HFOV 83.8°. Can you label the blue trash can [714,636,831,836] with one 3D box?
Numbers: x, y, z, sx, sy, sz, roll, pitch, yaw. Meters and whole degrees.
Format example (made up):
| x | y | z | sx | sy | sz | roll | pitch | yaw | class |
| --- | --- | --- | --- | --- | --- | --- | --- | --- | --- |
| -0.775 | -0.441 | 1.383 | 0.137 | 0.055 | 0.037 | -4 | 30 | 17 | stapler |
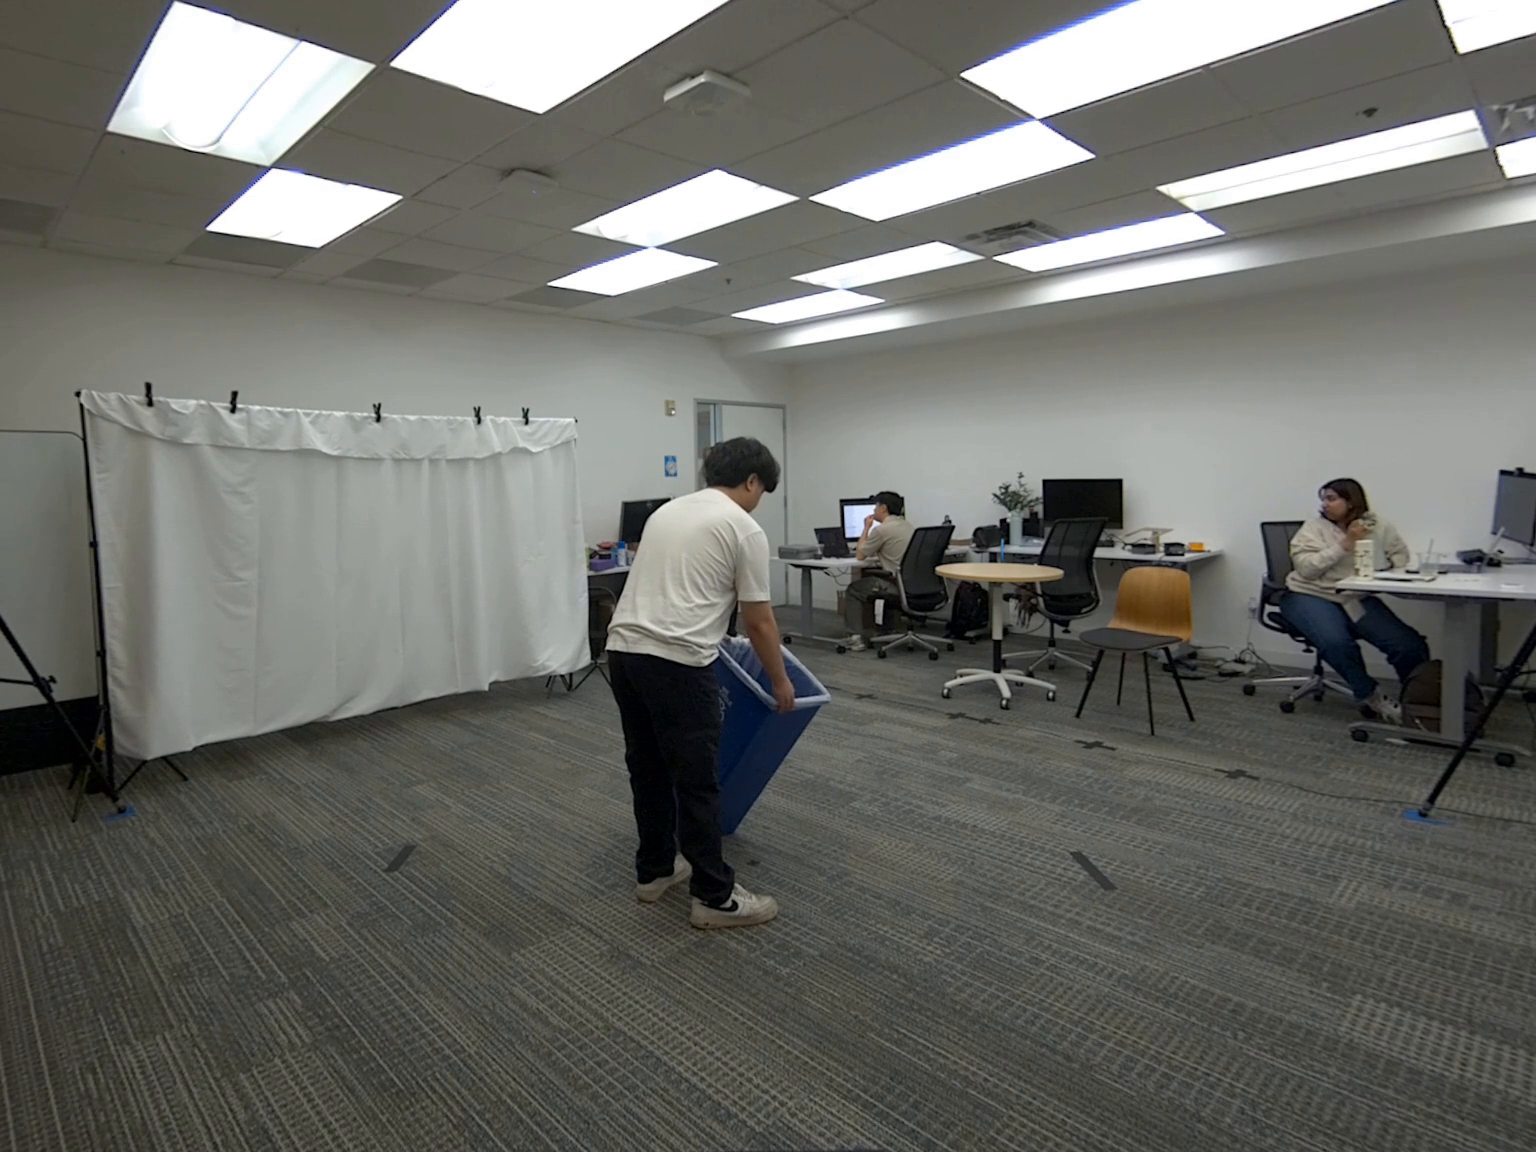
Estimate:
| x | y | z | sx | sy | sz | roll | pitch | yaw | class |
| --- | --- | --- | --- | --- | --- | --- | --- | --- | --- |
| -0.134 | 0.630 | 3.243 | 0.388 | 0.709 | 0.366 | 41 | 21 | 33 | blue trash can |
